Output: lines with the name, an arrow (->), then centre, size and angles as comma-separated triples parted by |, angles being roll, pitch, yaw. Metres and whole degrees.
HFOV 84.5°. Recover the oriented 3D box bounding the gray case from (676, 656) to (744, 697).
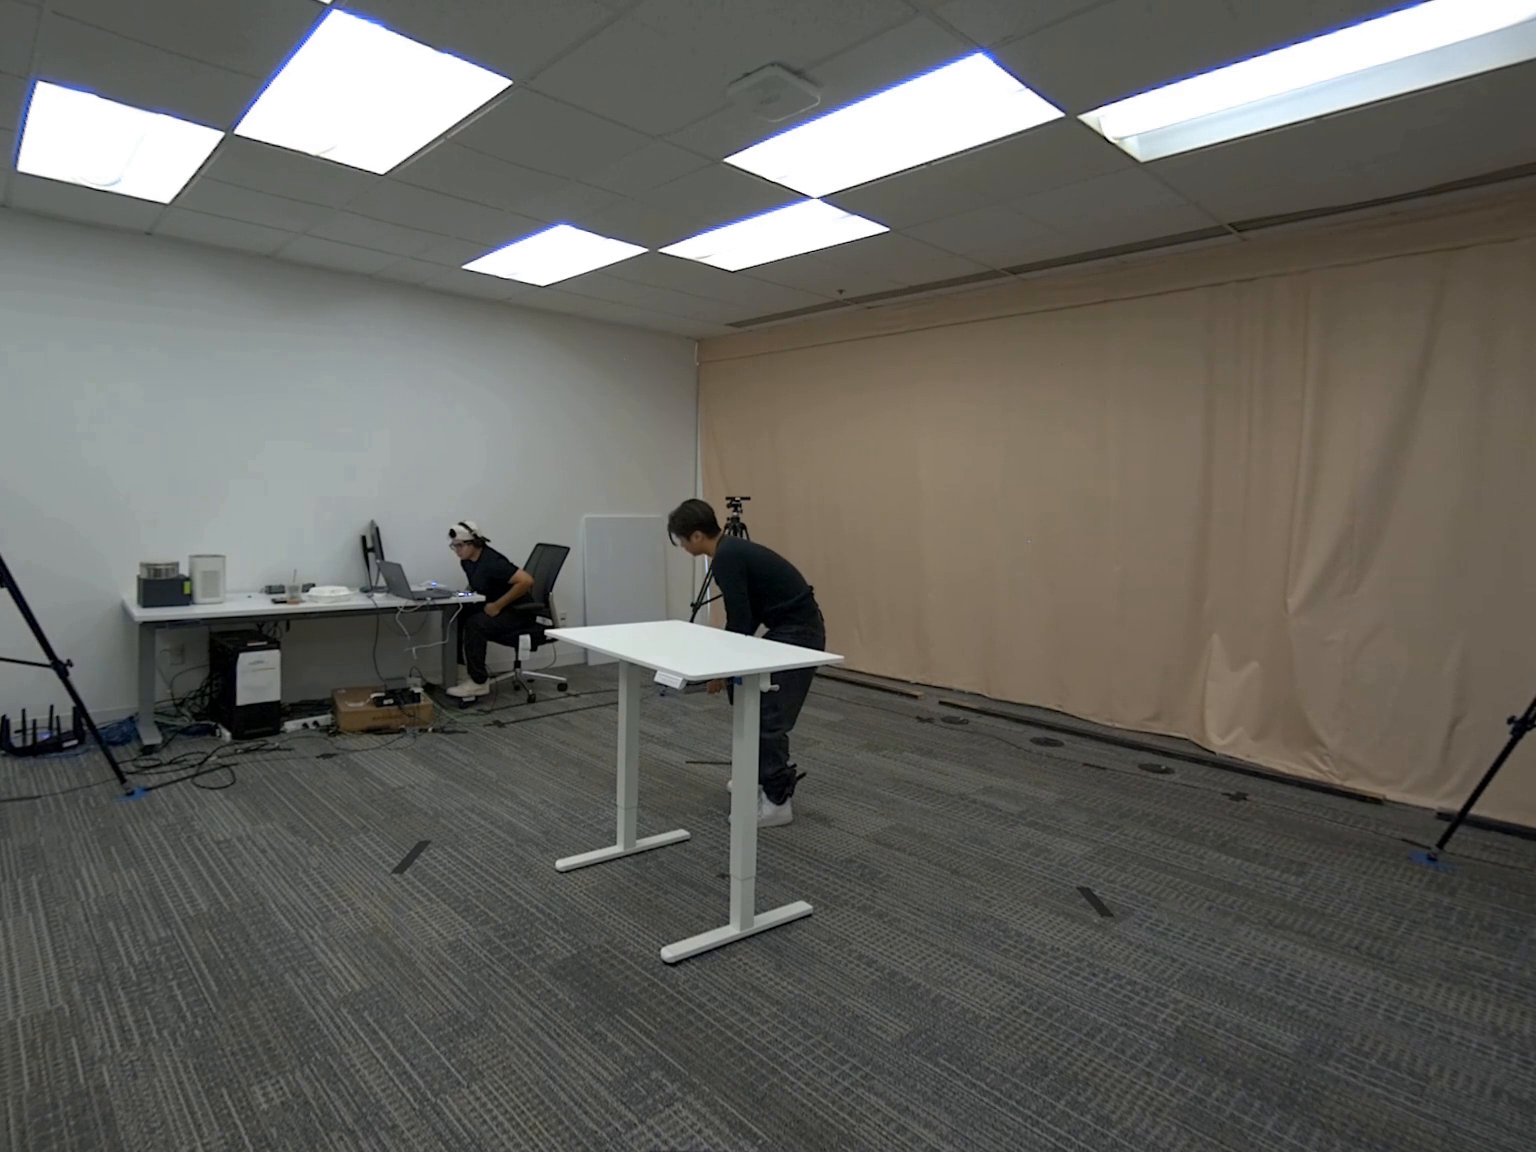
gray case -> -0.262, 0.452, 3.837 | 0.261, 0.104, 0.256 | -9, 2, 5
